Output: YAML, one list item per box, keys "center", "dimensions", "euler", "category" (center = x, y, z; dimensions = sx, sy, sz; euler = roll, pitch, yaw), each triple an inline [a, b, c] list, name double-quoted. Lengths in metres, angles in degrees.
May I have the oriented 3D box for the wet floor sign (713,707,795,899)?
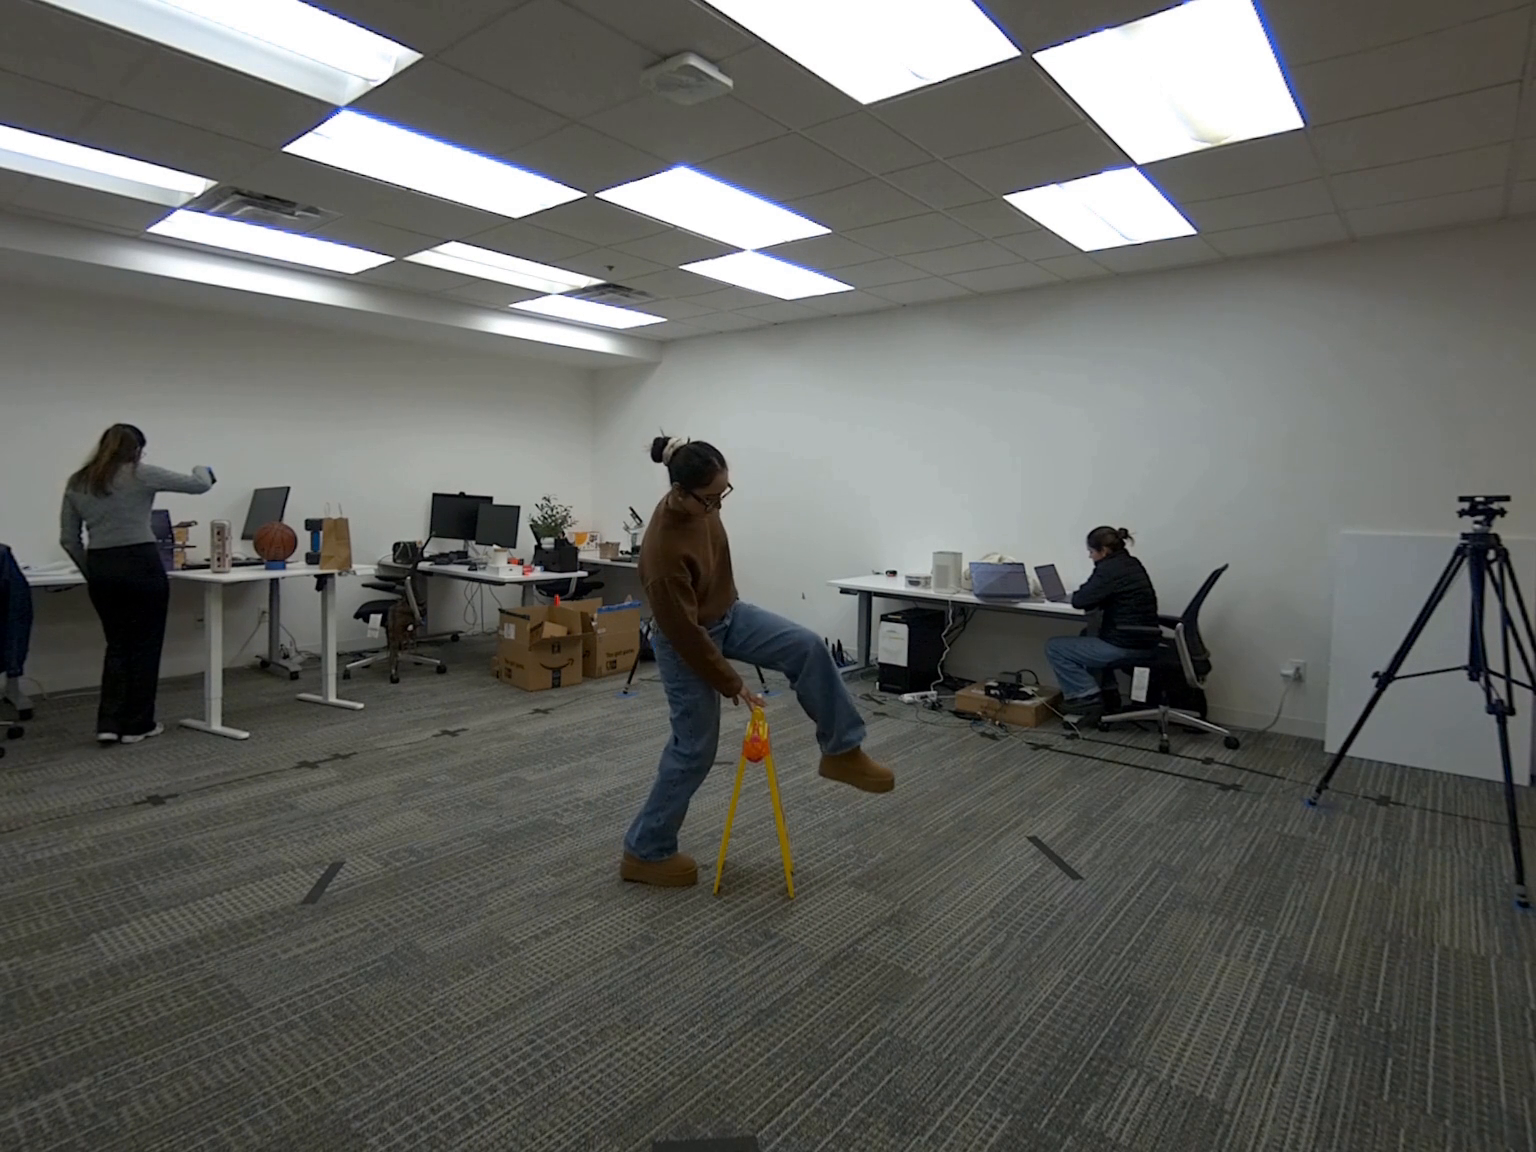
- center: [-0.049, 0.762, 3.018]
  dimensions: [0.291, 0.644, 0.282]
  euler: [2, 3, 3]
  category: "wet floor sign"
